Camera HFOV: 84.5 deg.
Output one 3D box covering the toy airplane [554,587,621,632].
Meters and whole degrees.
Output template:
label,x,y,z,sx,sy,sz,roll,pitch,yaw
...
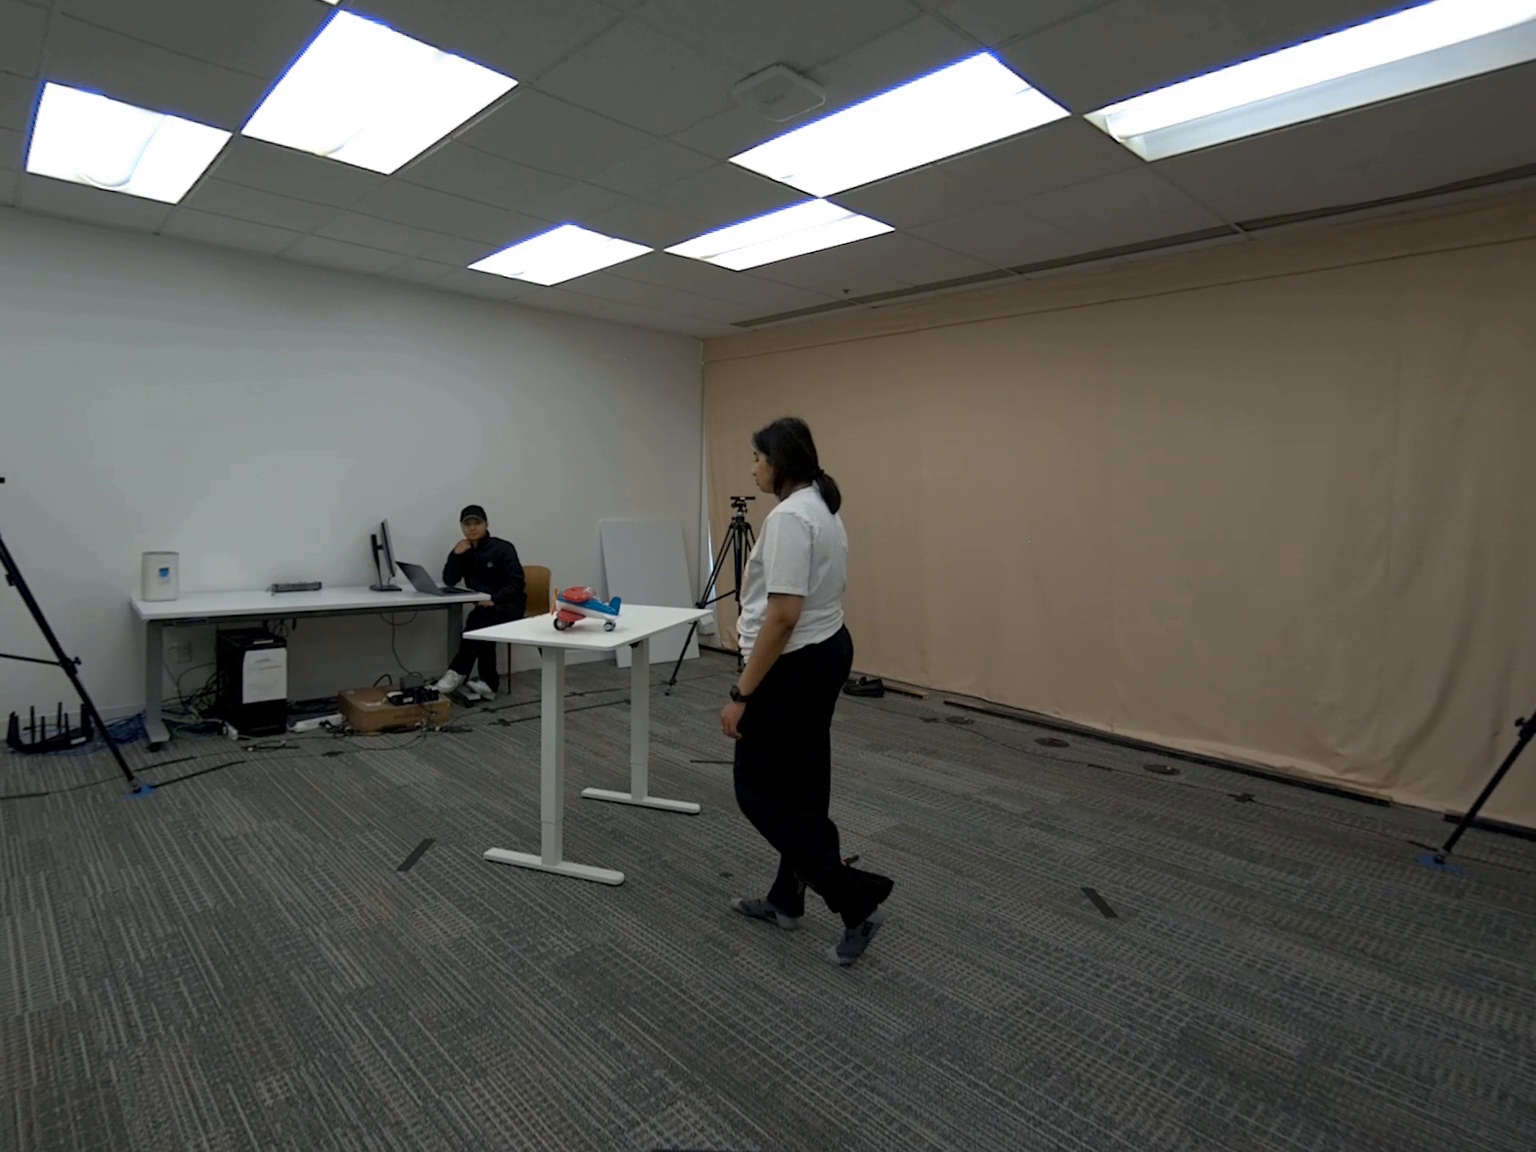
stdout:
label,x,y,z,sx,sy,sz,roll,pitch,yaw
toy airplane,-0.708,0.124,3.196,0.255,0.156,0.256,-2,4,-22
